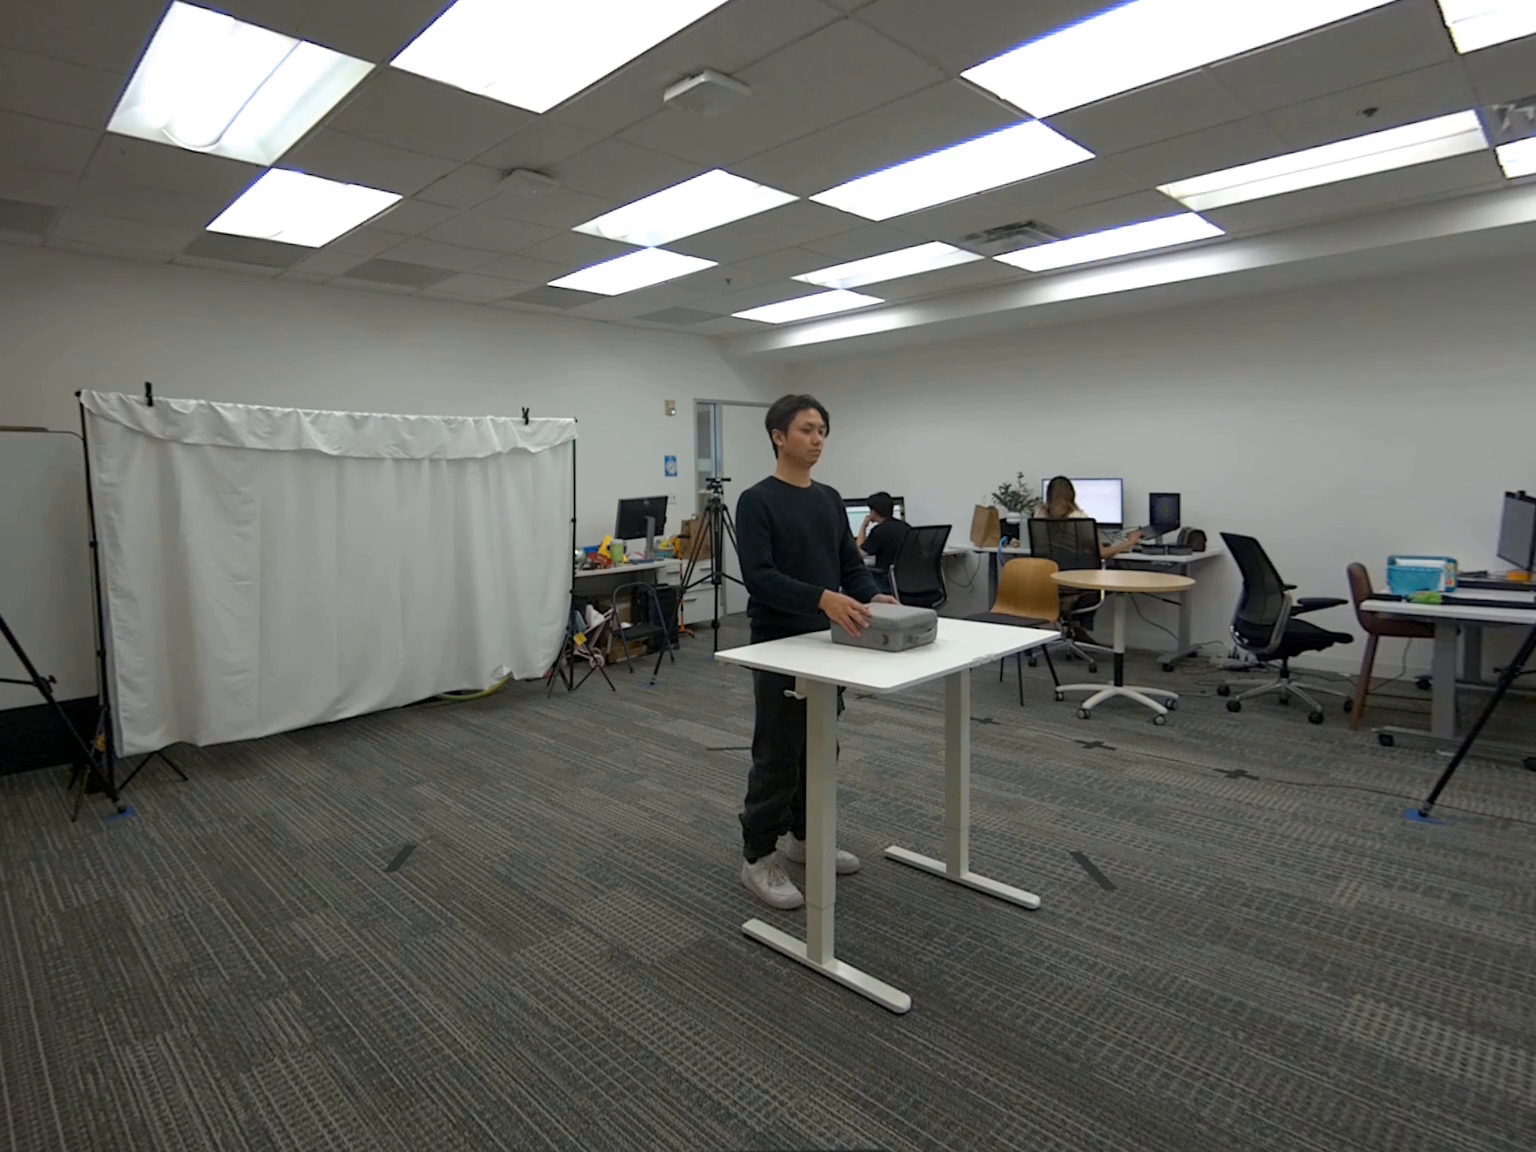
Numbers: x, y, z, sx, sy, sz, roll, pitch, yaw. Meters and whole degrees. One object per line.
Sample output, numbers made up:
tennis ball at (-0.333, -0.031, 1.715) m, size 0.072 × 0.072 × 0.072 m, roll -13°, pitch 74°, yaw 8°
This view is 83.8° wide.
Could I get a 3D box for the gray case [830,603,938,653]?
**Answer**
gray case at (0.374, 0.157, 2.639) m, size 0.269 × 0.104 × 0.250 m, roll 6°, pitch 7°, yaw 42°
